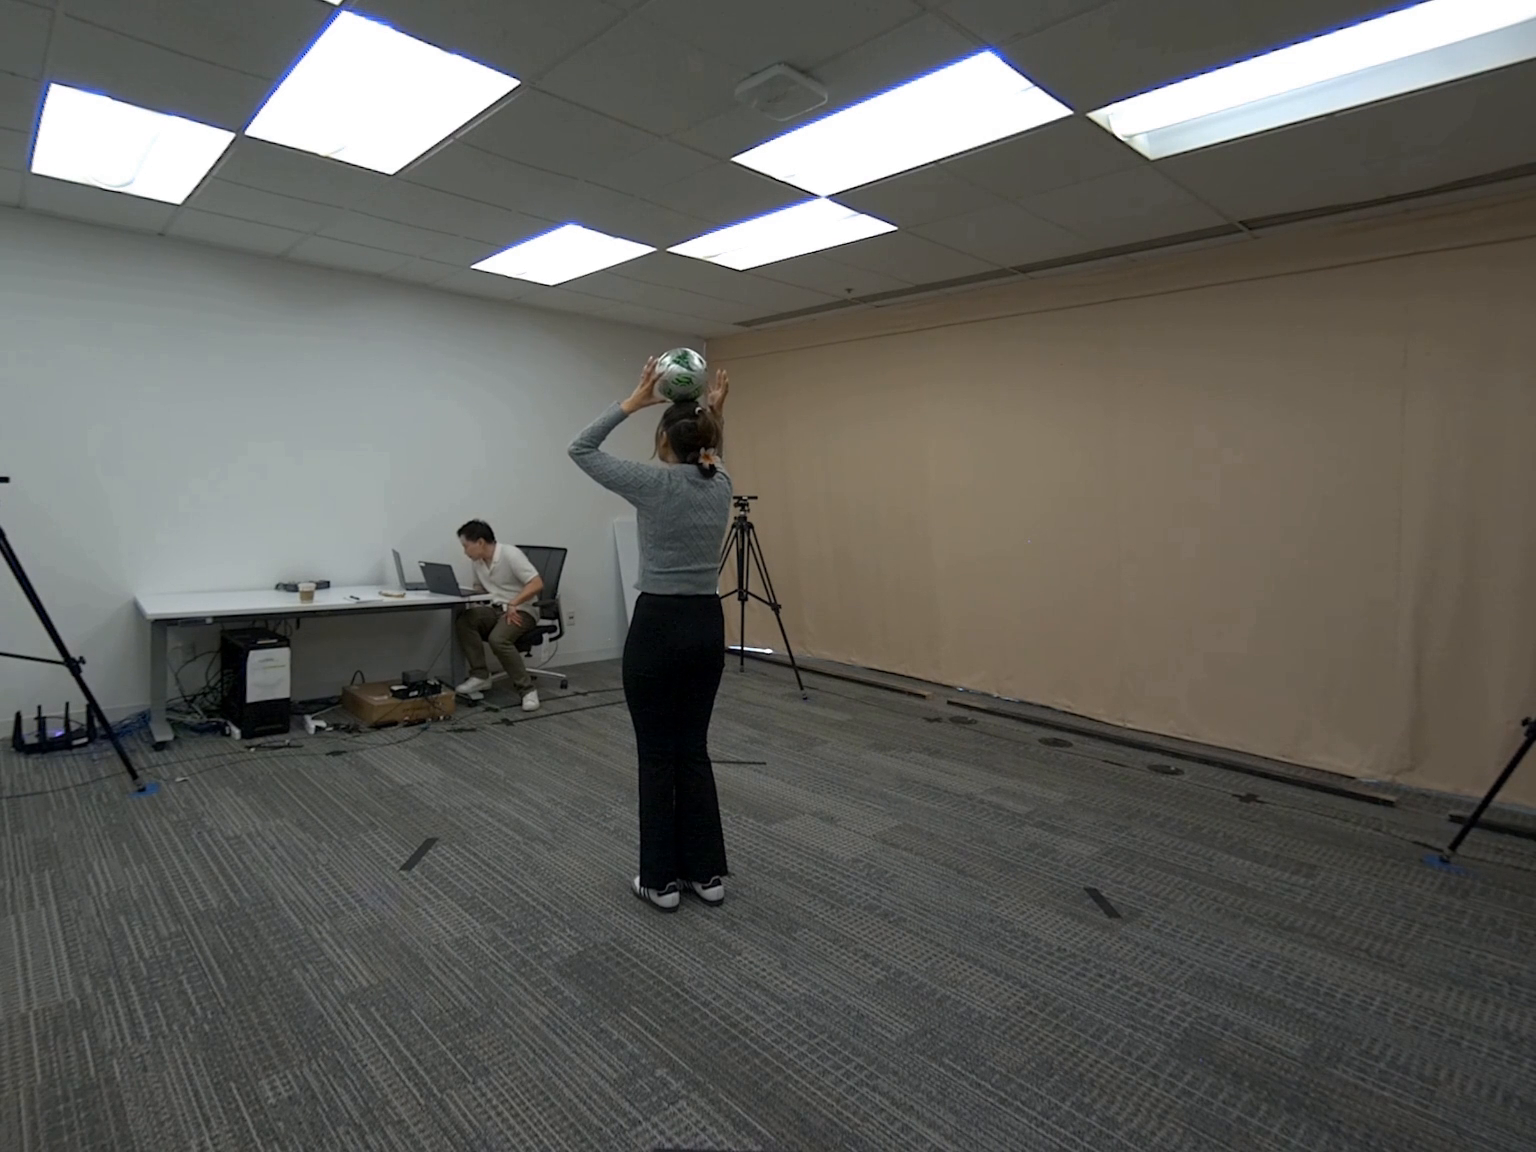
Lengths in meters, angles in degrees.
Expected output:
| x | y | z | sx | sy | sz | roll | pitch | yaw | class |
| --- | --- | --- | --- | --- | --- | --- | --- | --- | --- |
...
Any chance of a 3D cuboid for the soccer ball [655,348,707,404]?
| x | y | z | sx | sy | sz | roll | pitch | yaw | class |
| --- | --- | --- | --- | --- | --- | --- | --- | --- | --- |
| -0.308 | -0.684 | 2.878 | 0.187 | 0.187 | 0.188 | 1 | 4 | -1 | soccer ball |
